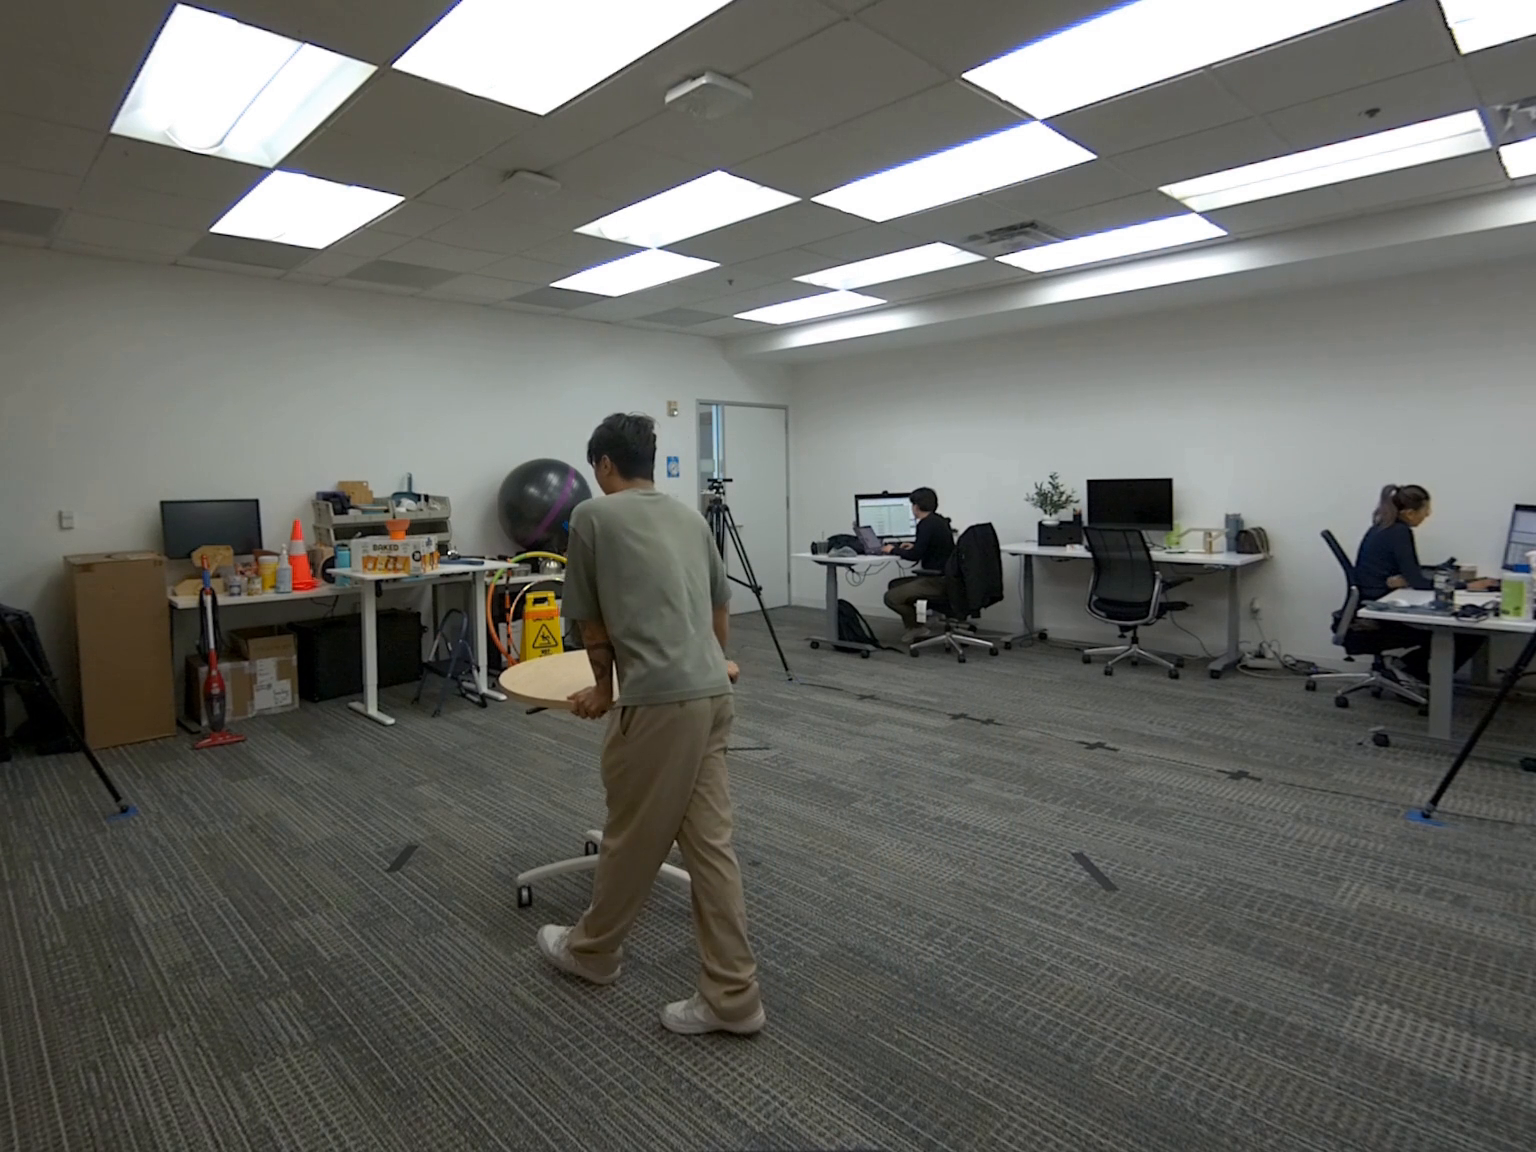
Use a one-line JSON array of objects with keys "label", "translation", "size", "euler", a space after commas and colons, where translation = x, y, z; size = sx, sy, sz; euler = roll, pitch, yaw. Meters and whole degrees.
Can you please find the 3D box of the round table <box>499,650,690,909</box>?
[{"label": "round table", "translation": [-0.470, 0.692, 2.886], "size": [0.784, 0.782, 0.790], "euler": [-1, 6, -2]}]
